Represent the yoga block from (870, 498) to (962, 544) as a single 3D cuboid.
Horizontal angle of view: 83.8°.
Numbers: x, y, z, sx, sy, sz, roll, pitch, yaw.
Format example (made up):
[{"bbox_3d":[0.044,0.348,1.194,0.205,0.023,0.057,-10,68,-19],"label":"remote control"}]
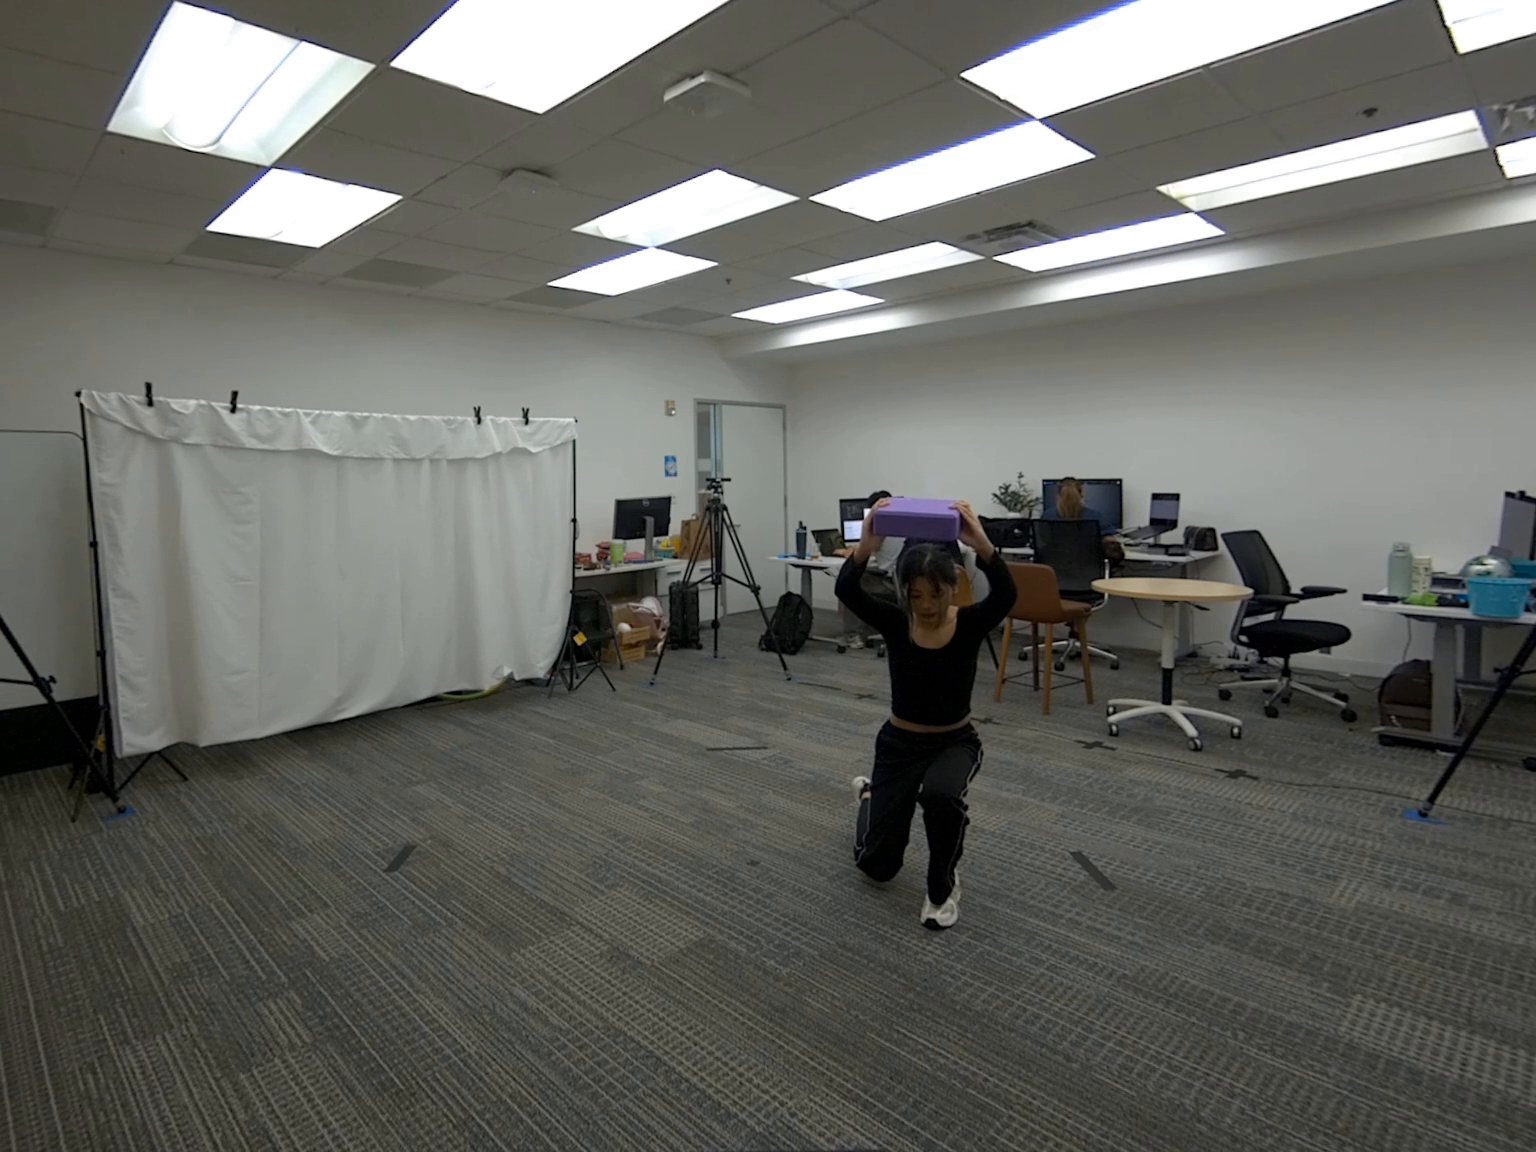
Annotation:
[{"bbox_3d":[0.438,-0.162,2.395,0.235,0.075,0.148,6,24,23],"label":"yoga block"}]
